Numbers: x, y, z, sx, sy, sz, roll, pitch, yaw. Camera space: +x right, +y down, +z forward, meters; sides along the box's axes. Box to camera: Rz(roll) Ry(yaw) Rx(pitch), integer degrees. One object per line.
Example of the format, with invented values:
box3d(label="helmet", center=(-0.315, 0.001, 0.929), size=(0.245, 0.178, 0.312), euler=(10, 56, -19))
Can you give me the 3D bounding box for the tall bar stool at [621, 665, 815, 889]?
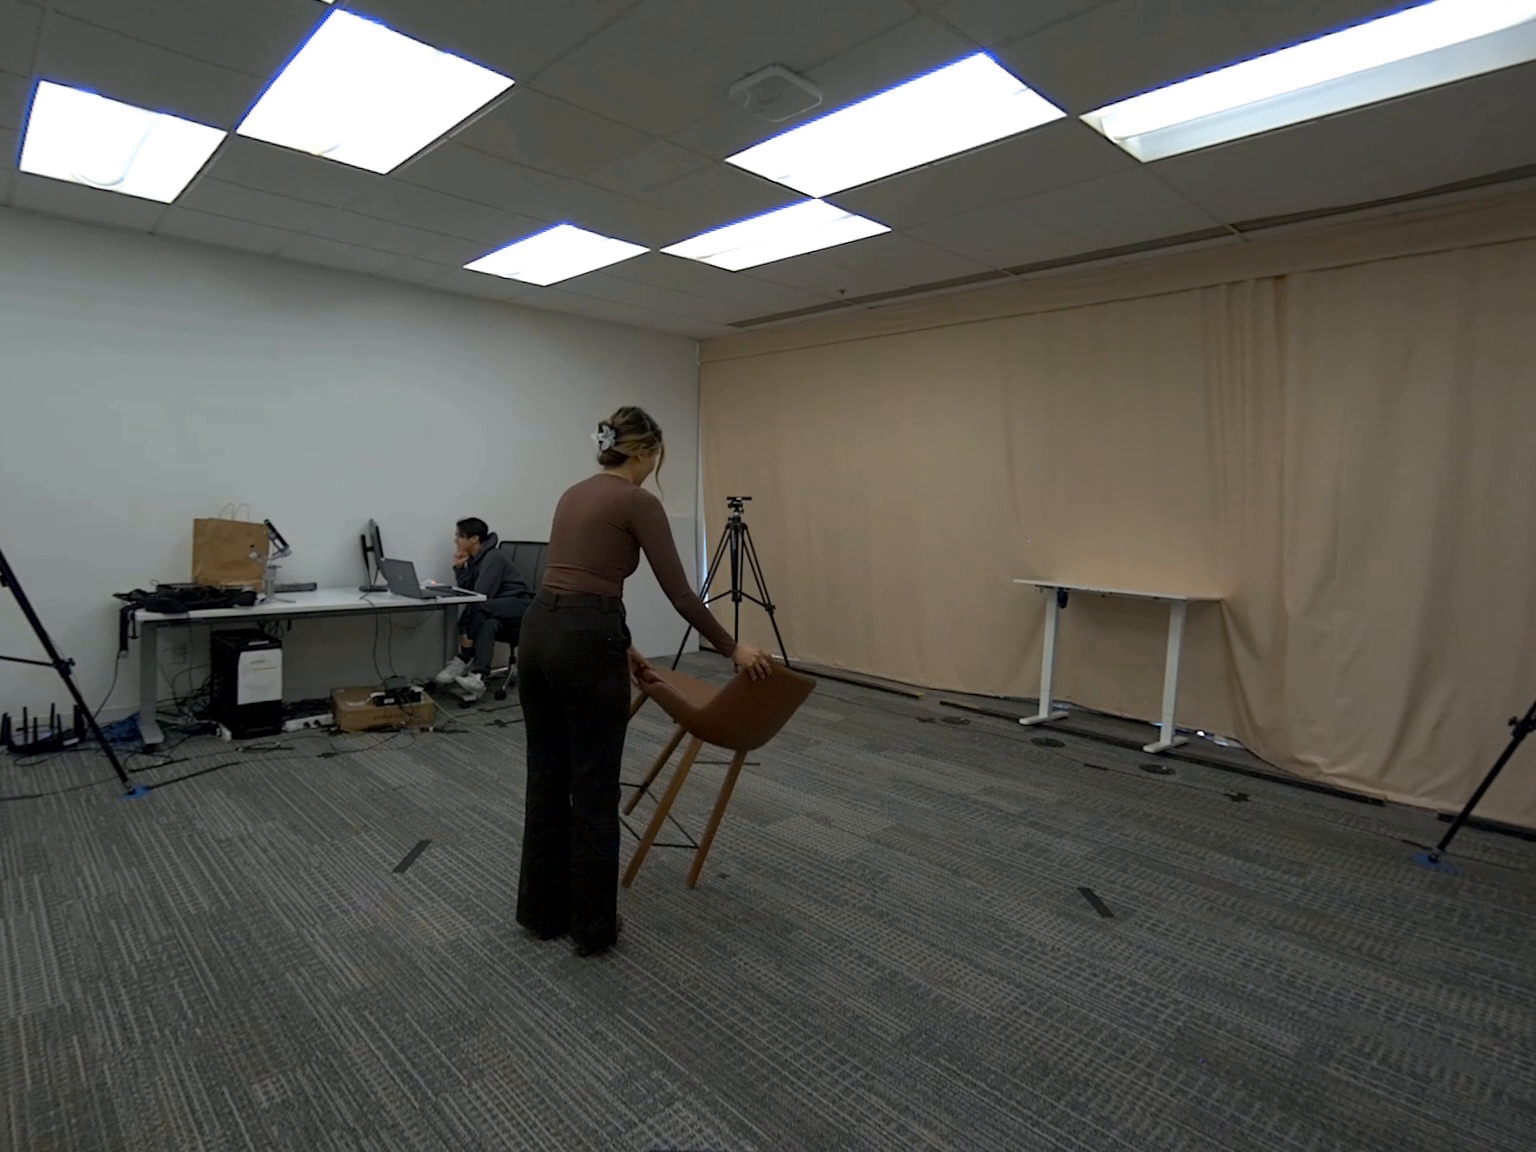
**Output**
box3d(label="tall bar stool", center=(-0.291, 0.599, 2.988), size=(0.482, 0.889, 0.442), euler=(35, 5, 40))
